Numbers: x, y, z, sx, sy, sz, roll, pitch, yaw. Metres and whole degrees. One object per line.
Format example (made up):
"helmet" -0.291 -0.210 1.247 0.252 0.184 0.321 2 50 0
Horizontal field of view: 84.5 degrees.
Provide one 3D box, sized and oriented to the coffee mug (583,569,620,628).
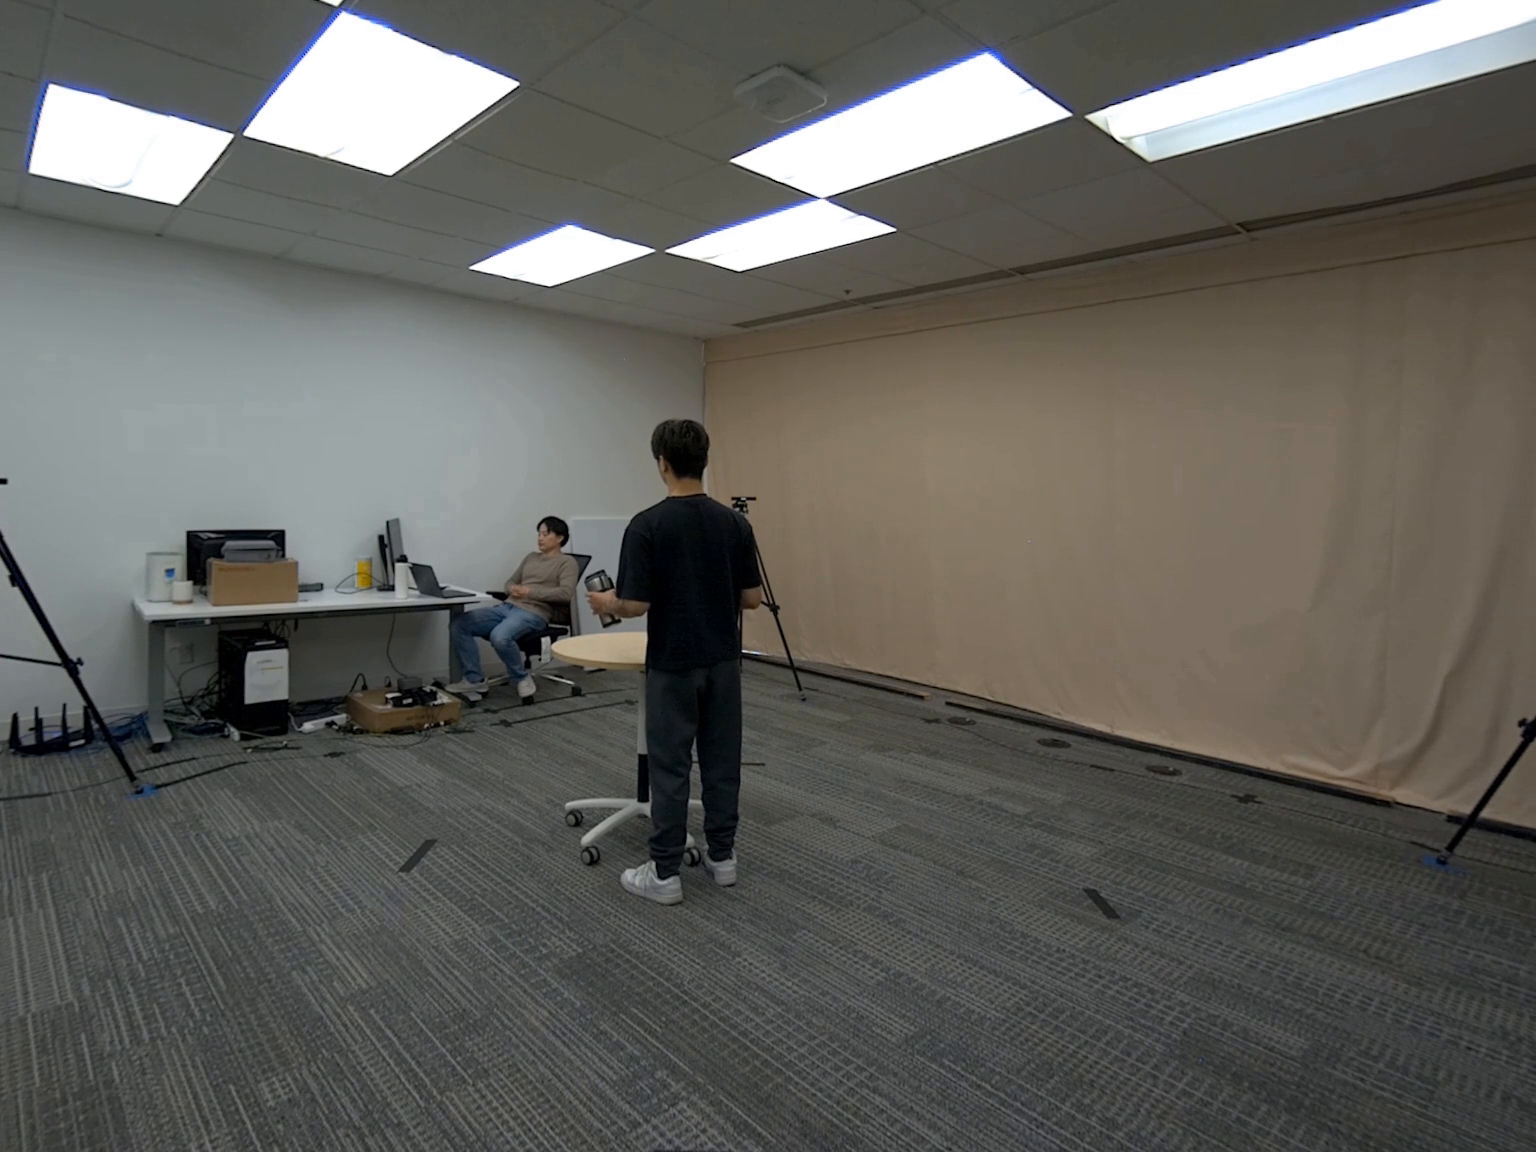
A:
"coffee mug" -0.576 0.079 3.097 0.120 0.205 0.088 -16 -14 -47
